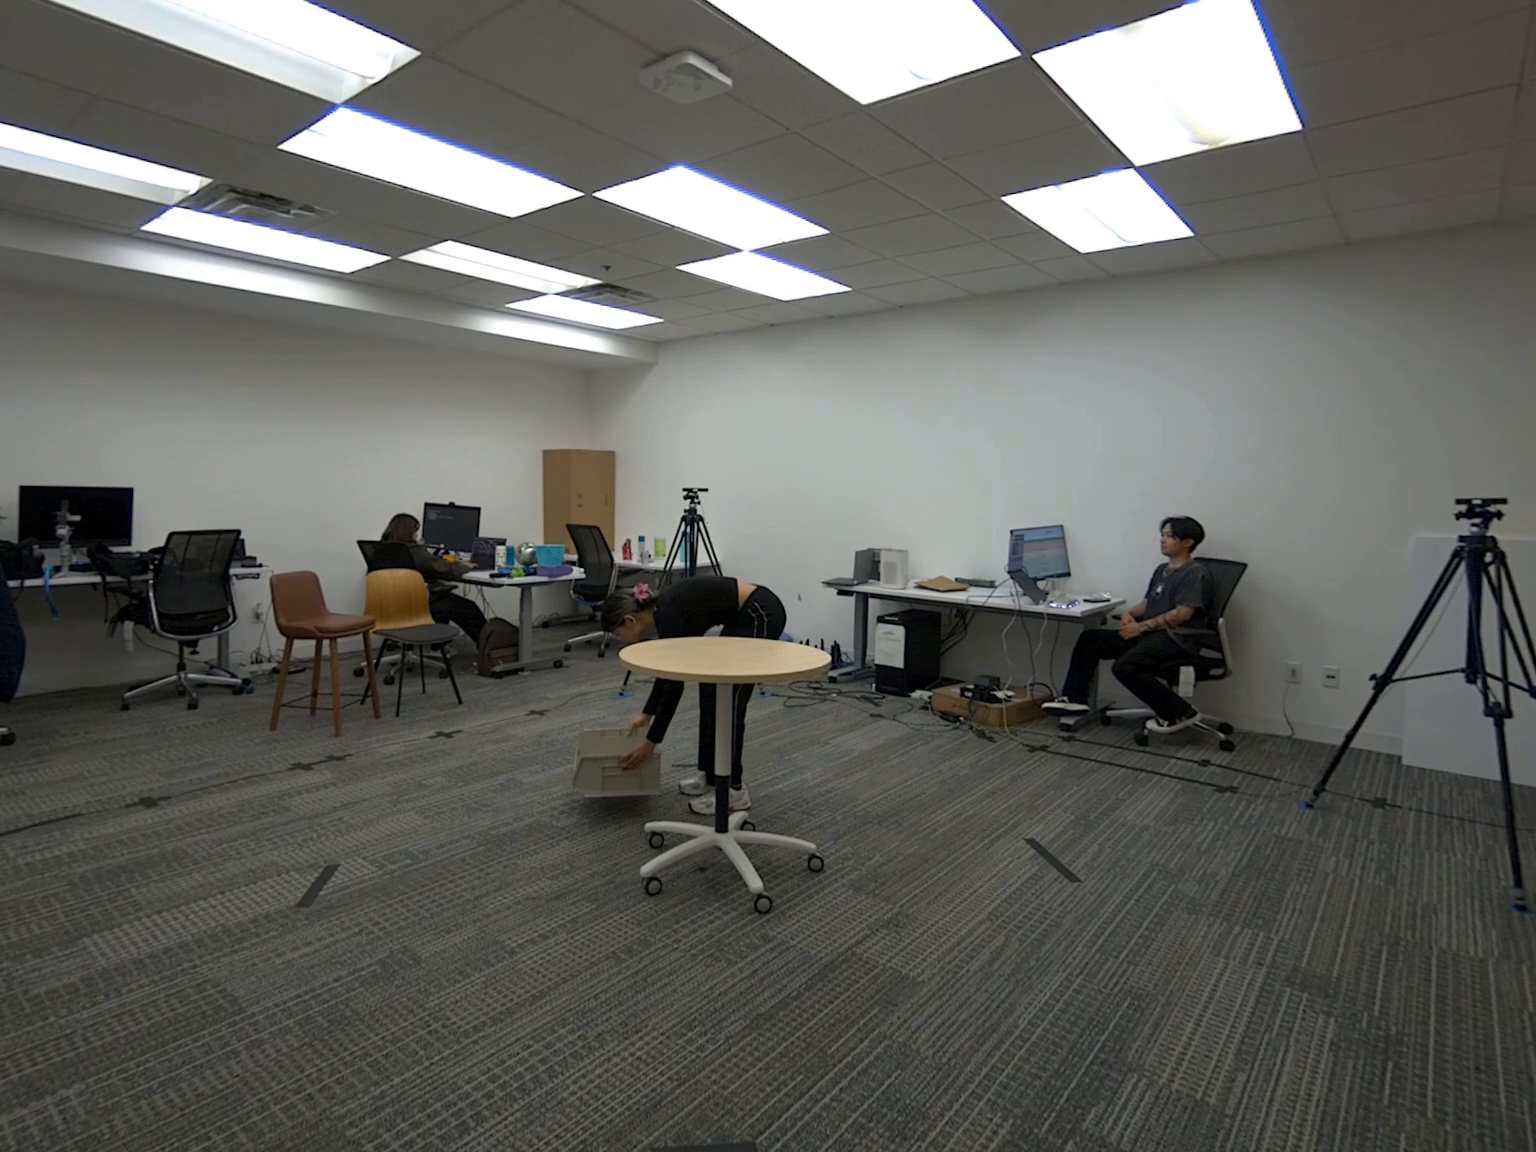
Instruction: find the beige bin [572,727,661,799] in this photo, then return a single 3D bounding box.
[{"bbox_3d":[-0.683,0.807,3.743,0.374,0.188,0.429,-1,6,-10],"label":"beige bin"}]
